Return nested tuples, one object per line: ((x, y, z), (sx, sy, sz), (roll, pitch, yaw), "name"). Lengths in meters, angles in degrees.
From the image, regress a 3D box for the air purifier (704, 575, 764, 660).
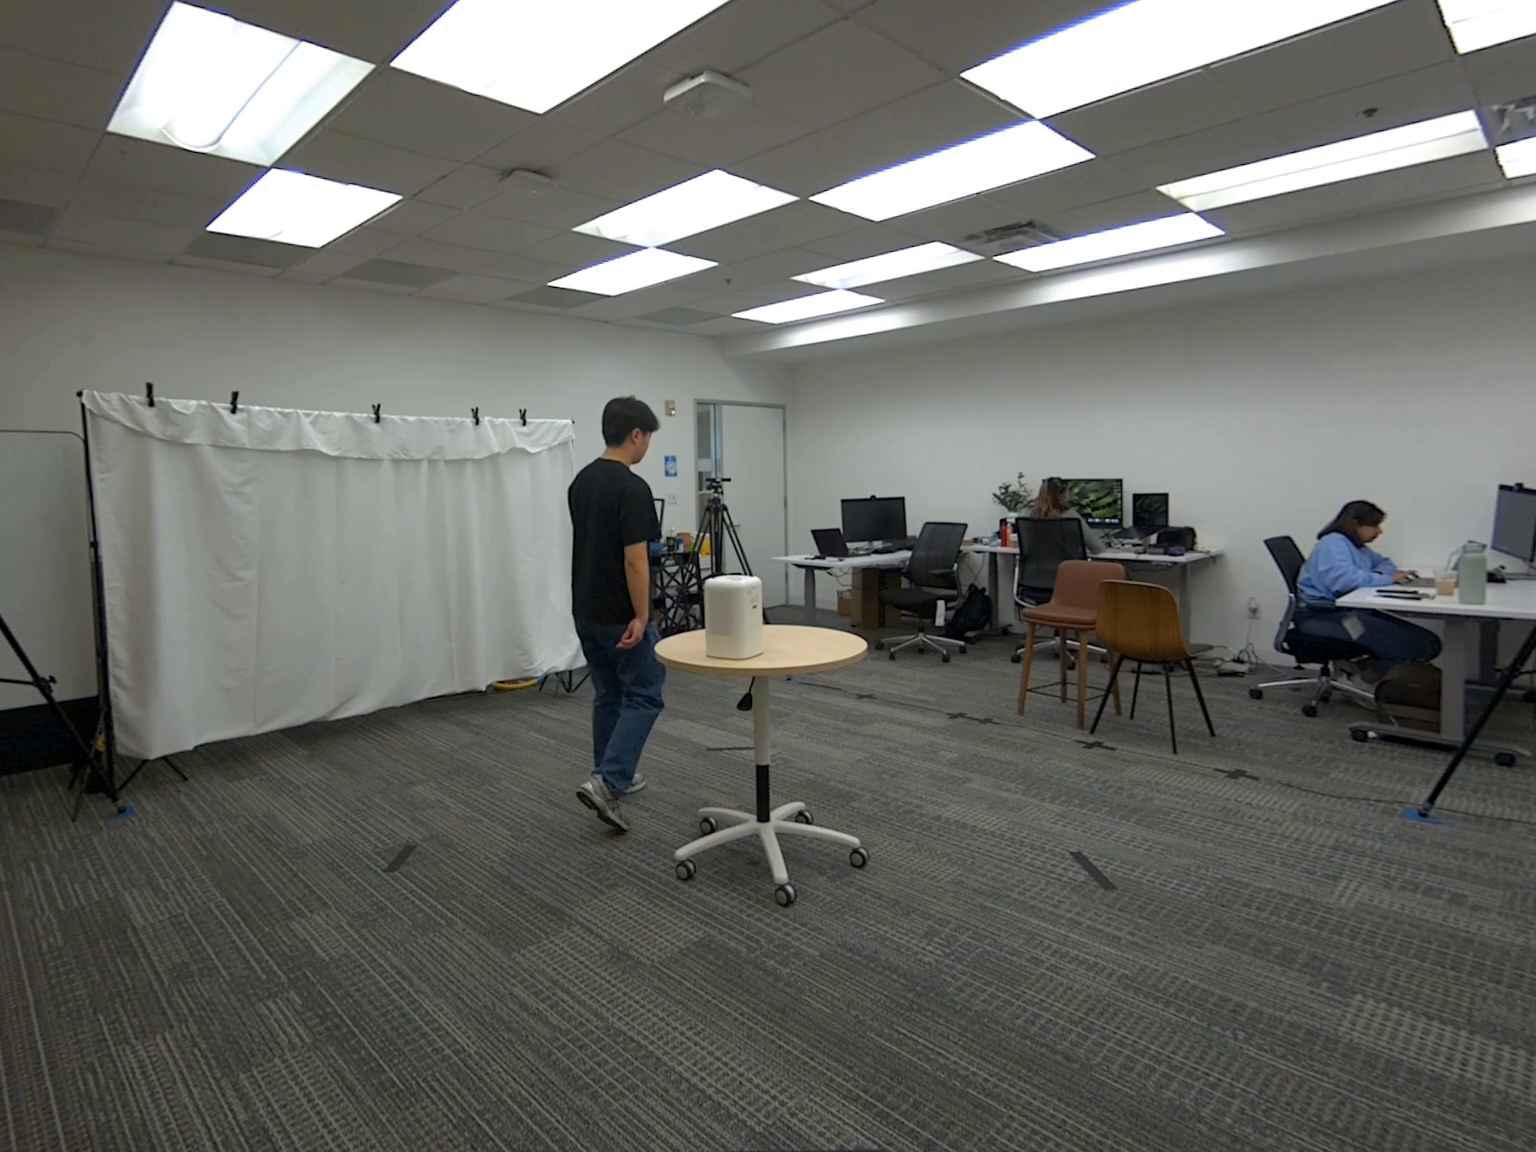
((-0.114, 0.135, 2.924), (0.176, 0.264, 0.167), (1, 5, 33), "air purifier")
